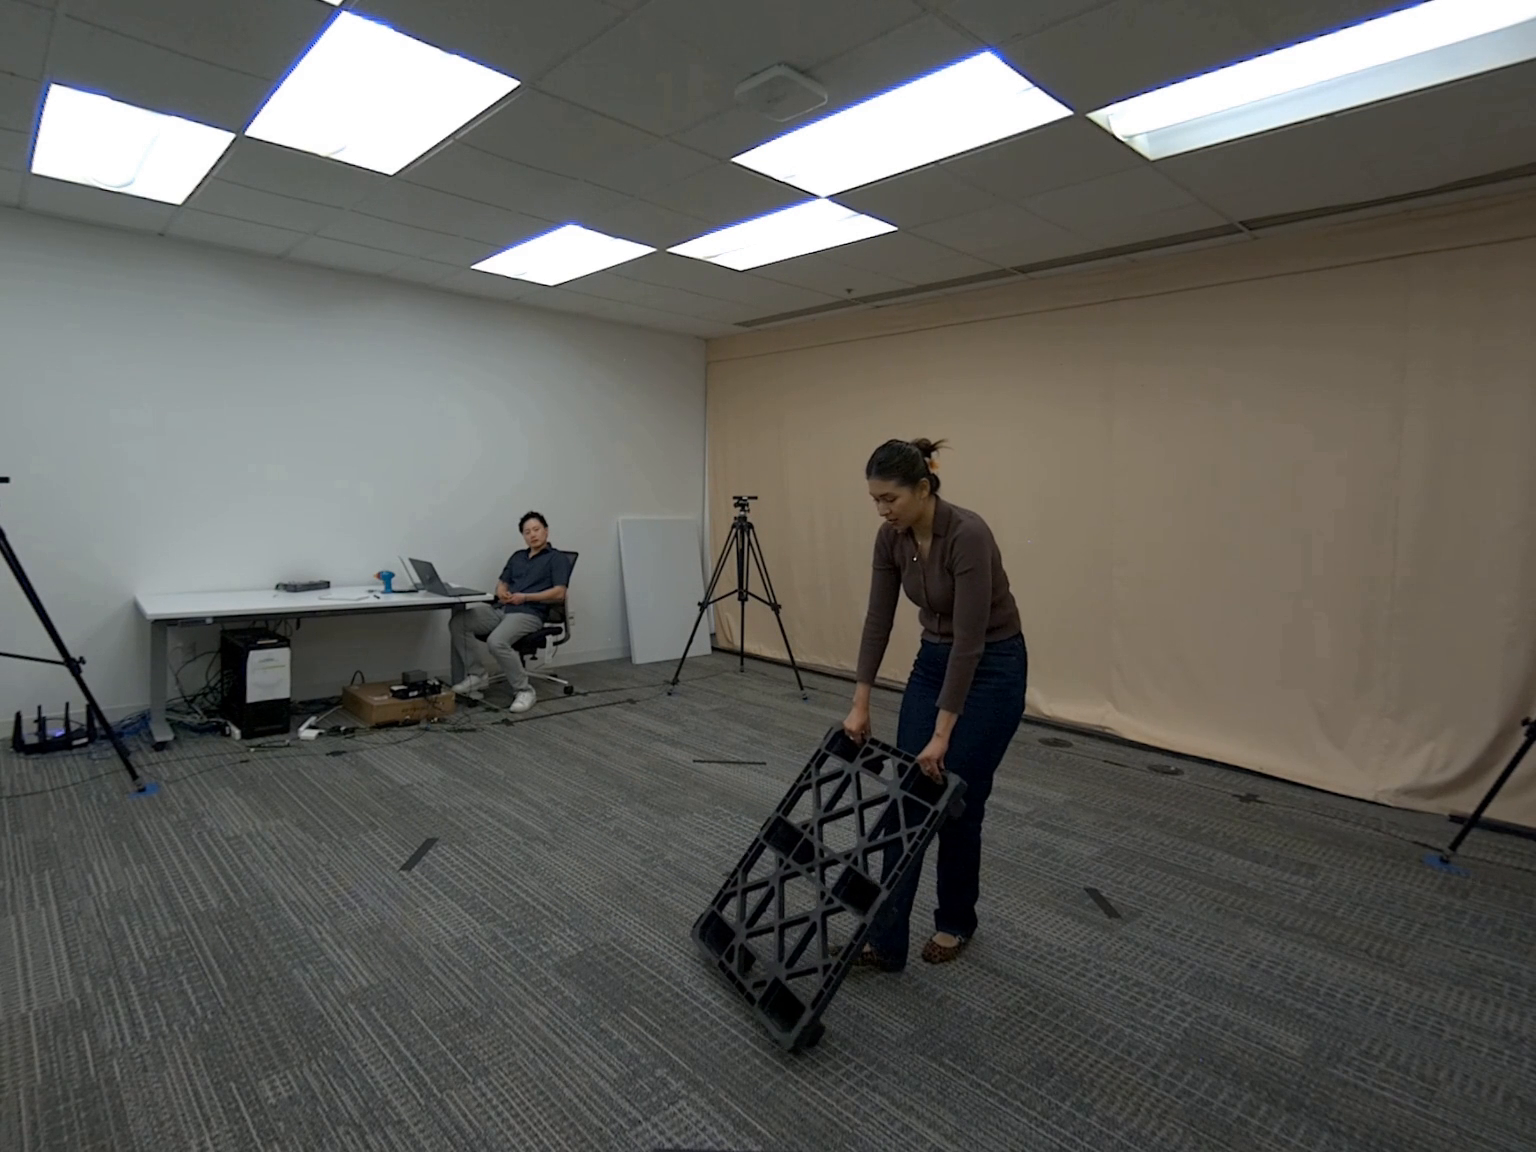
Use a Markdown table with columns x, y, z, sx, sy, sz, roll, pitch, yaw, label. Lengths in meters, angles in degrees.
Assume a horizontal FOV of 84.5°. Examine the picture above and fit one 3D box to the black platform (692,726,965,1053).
| x | y | z | sx | sy | sz | roll | pitch | yaw | label |
| --- | --- | --- | --- | --- | --- | --- | --- | --- | --- |
| 0.173 | 0.851 | 2.402 | 0.140 | 0.806 | 0.619 | 44 | -15 | -27 | black platform |
